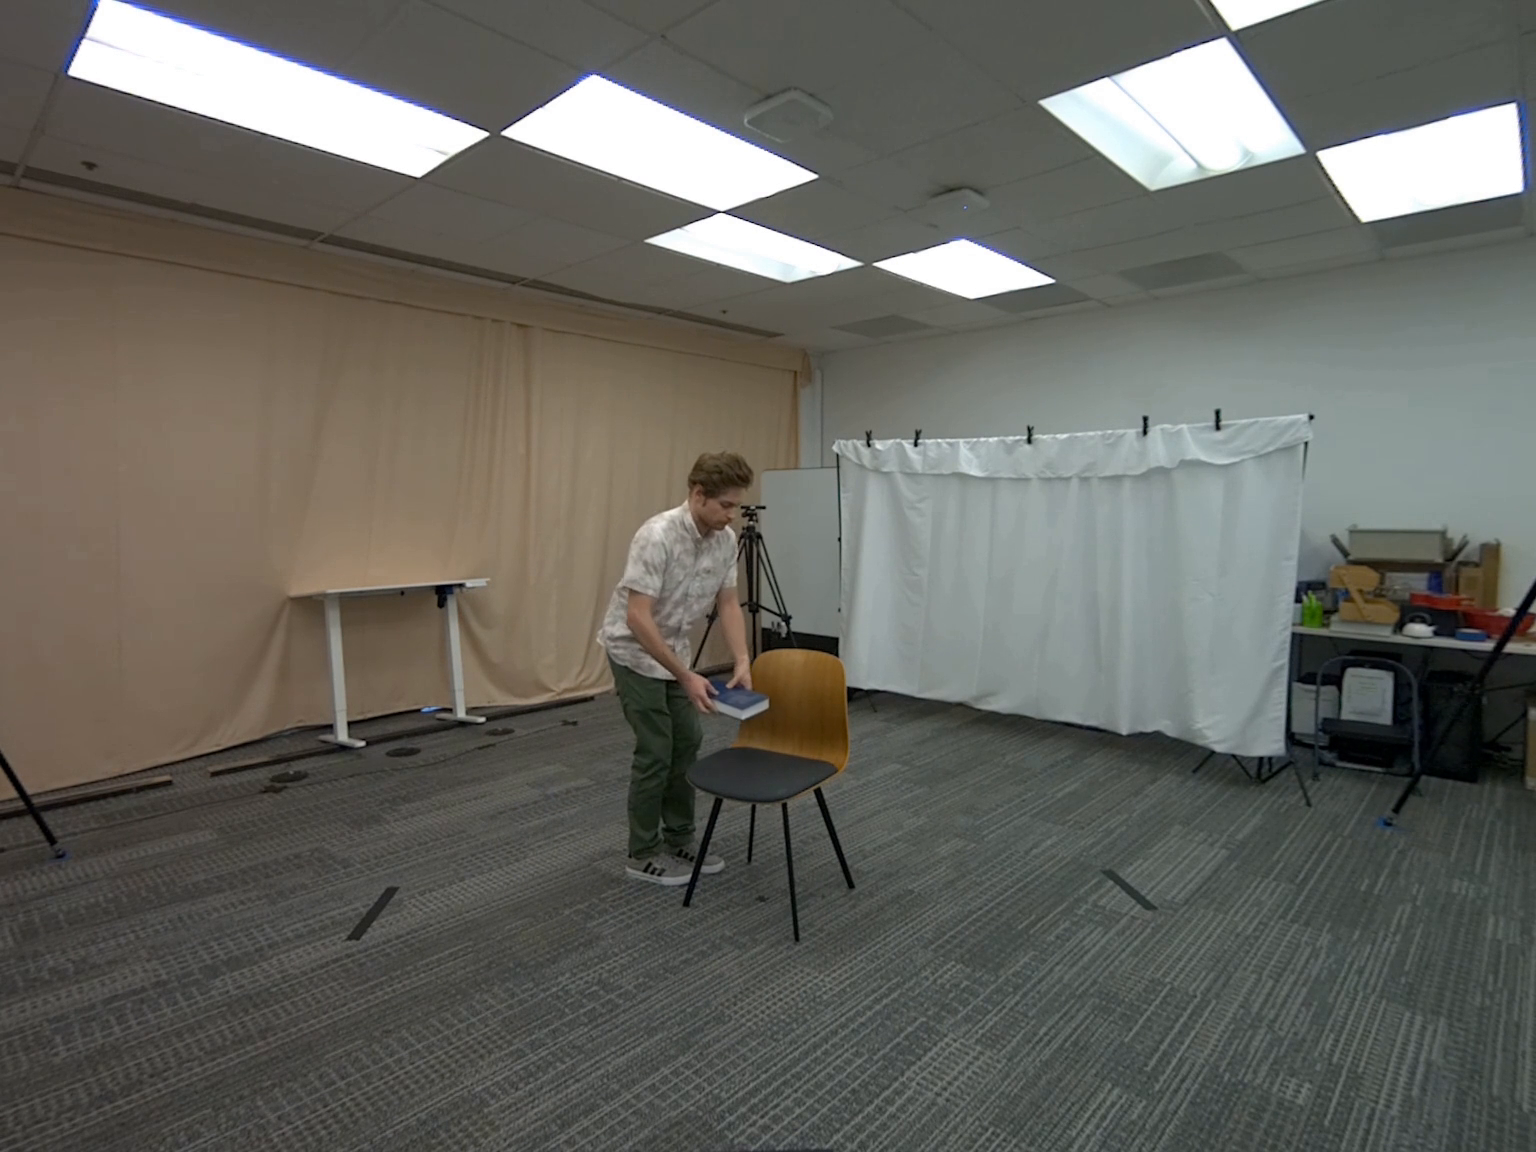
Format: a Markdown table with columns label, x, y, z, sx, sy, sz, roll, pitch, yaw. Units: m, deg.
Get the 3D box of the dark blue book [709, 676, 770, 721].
| label | x | y | z | sx | sy | sz | roll | pitch | yaw |
| --- | --- | --- | --- | --- | --- | --- | --- | --- | --- |
| dark blue book | -0.132 | 0.434 | 2.950 | 0.253 | 0.045 | 0.159 | 11 | 15 | 36 |
